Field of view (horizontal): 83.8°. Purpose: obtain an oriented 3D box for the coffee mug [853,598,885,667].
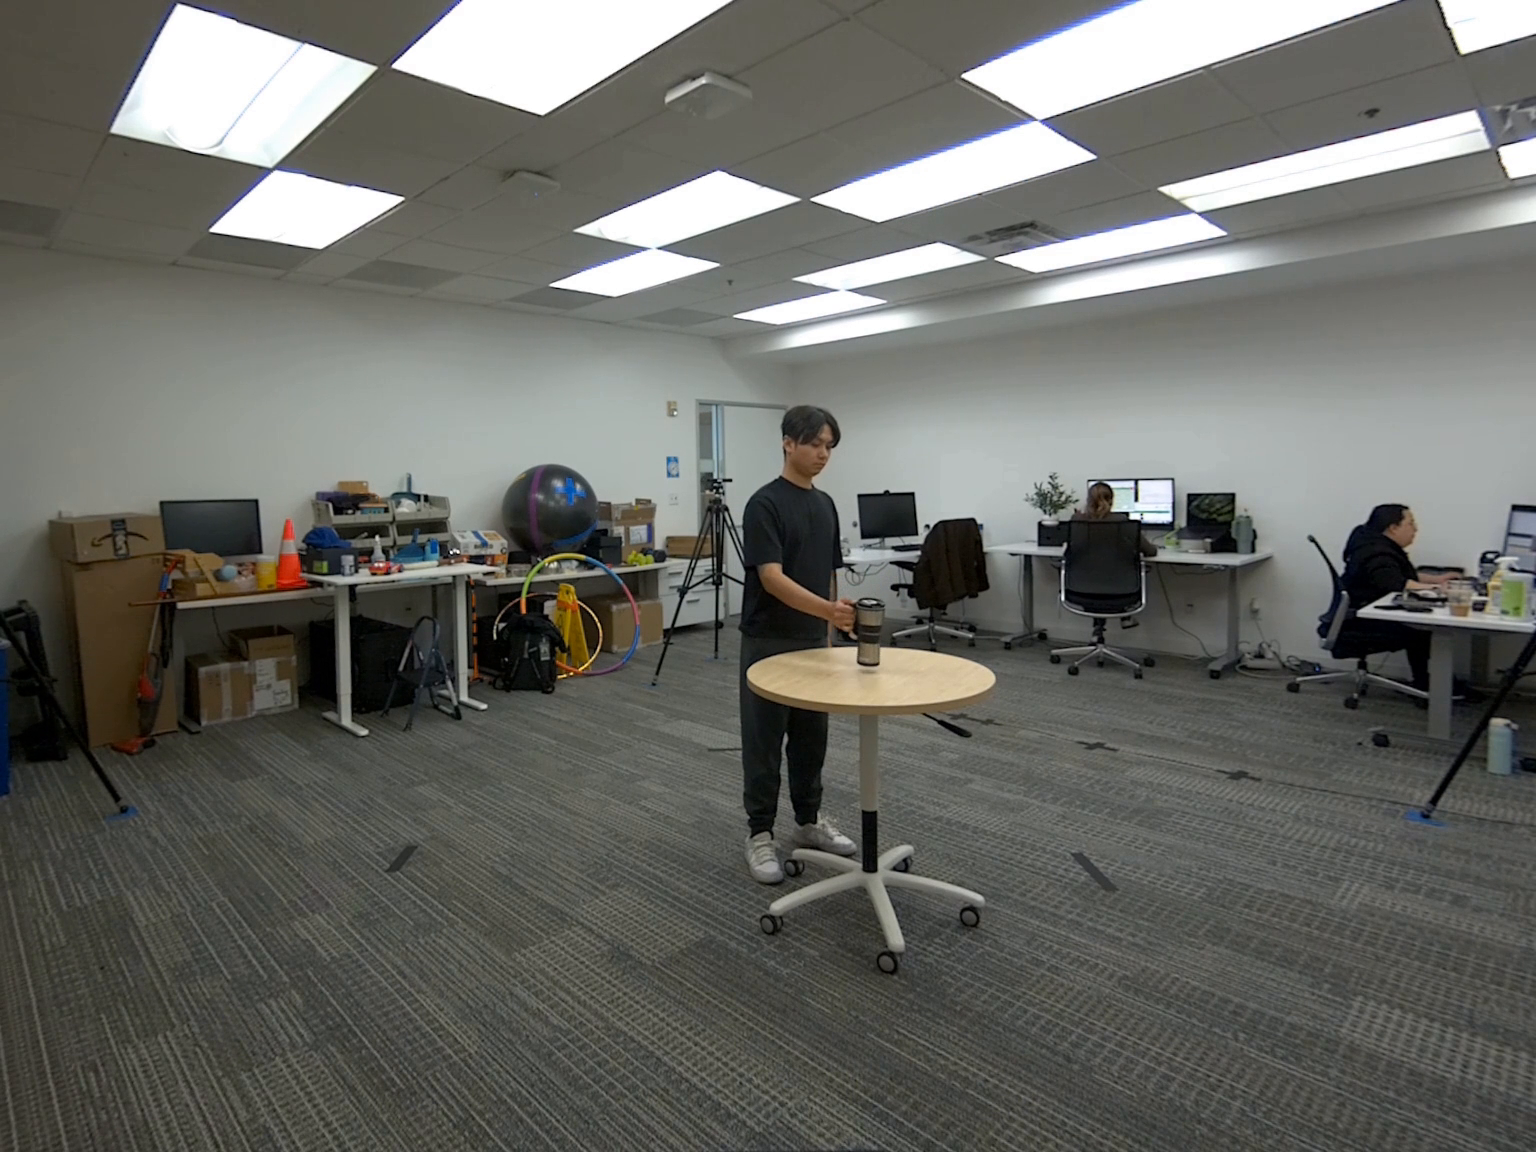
[{"bbox_3d":[0.306,0.176,2.710,0.086,0.201,0.126,-7,14,-34],"label":"coffee mug"}]
